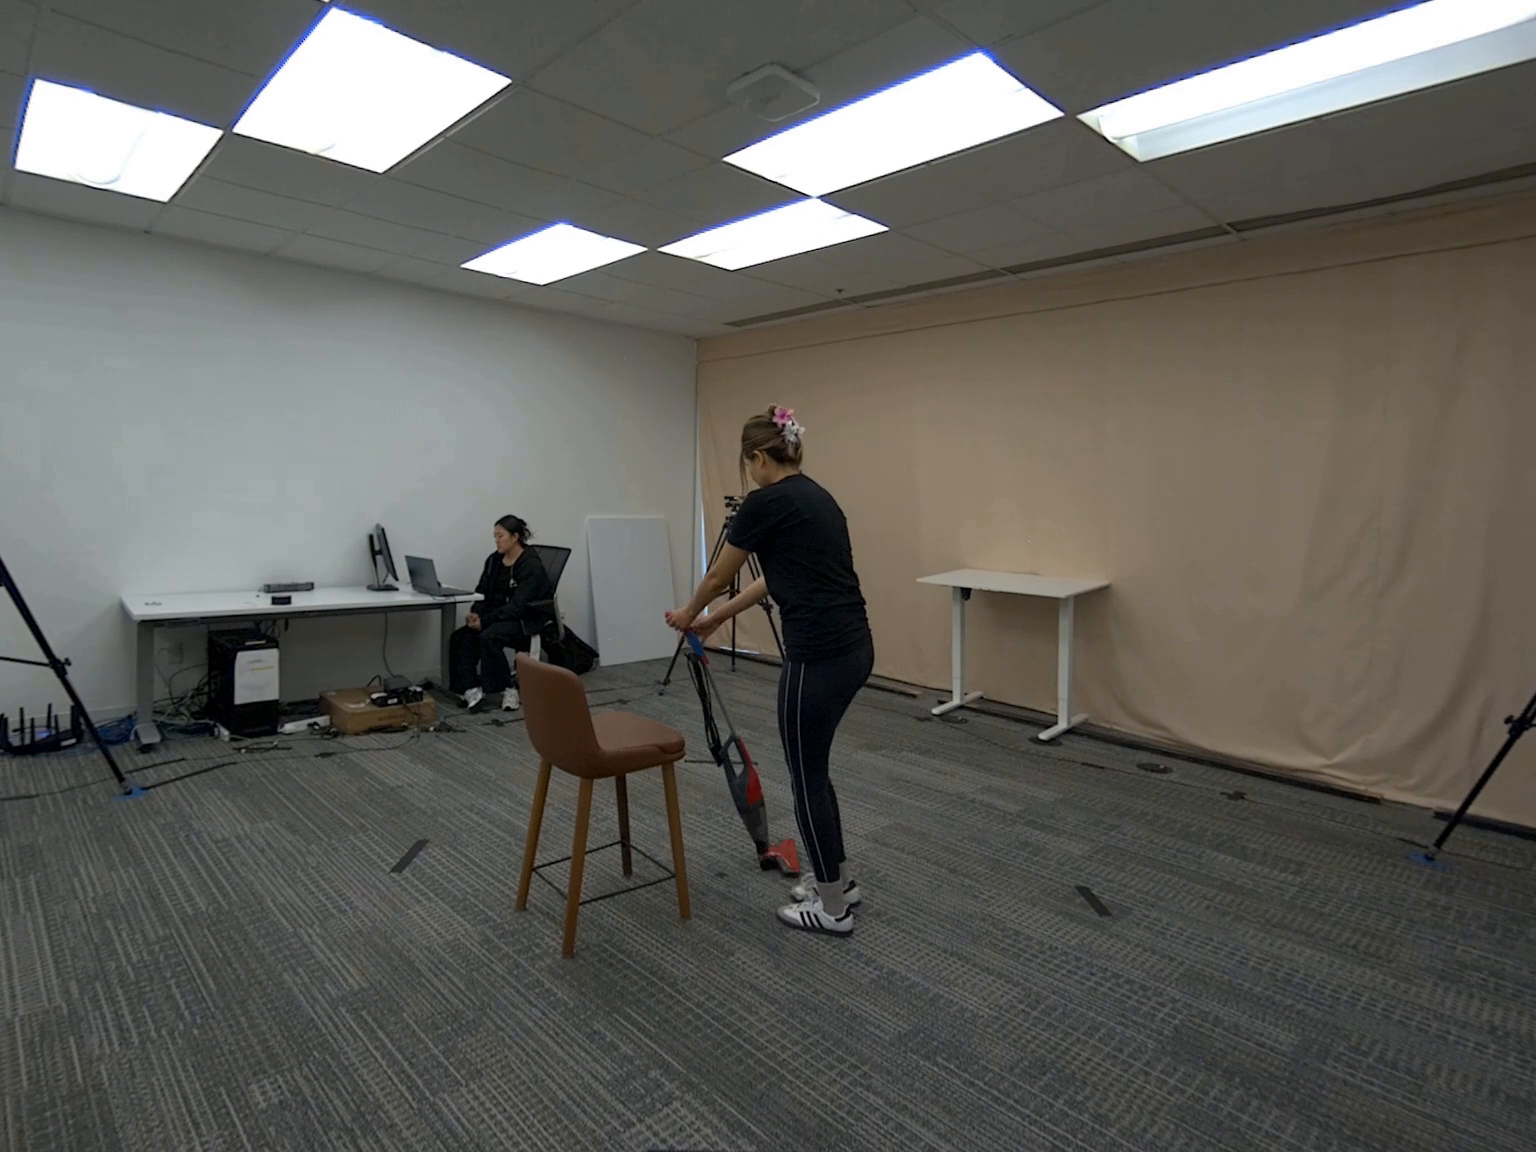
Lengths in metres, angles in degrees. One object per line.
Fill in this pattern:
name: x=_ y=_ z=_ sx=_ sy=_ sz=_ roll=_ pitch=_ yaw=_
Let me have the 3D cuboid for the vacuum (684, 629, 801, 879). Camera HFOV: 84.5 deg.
vacuum: x=-0.170 y=0.616 z=3.144 sx=0.144 sy=1.041 sz=0.255 roll=-24 pitch=7 yaw=-3
